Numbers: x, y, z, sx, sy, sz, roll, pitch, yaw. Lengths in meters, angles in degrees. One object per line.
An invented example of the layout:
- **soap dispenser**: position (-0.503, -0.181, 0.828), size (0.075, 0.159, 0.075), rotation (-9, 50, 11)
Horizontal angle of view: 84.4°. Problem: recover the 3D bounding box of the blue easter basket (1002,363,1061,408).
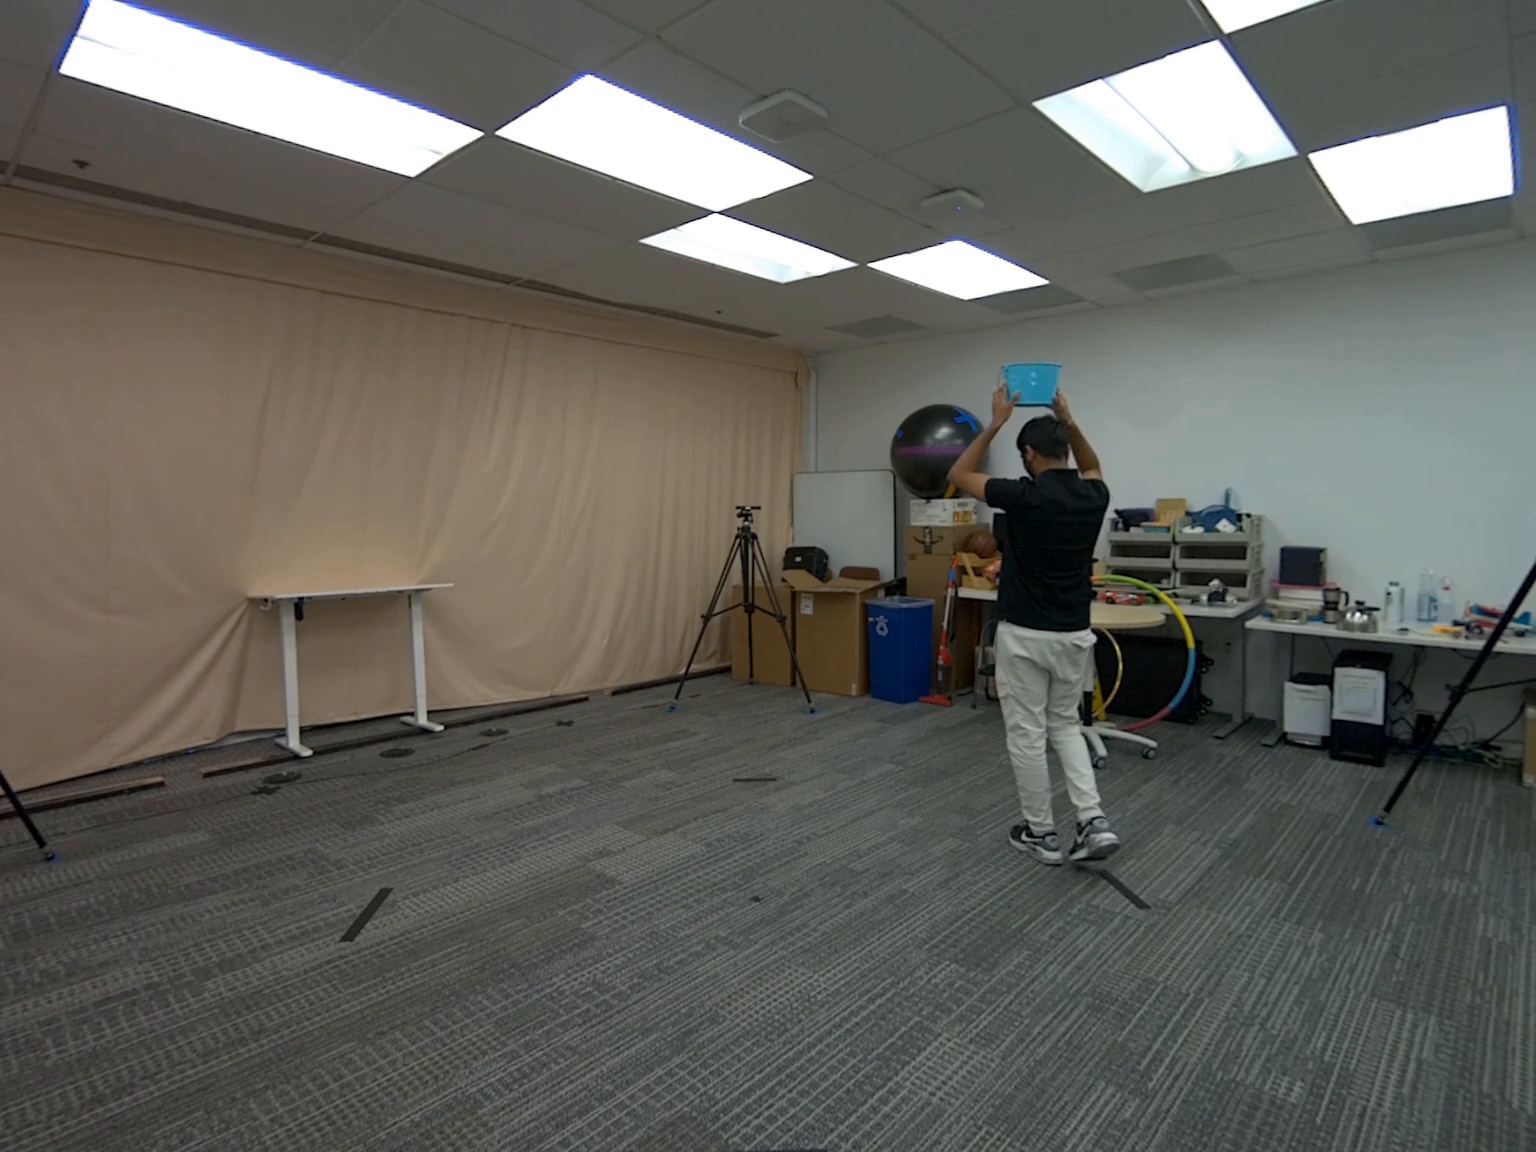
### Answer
- **blue easter basket**: position (1.066, -0.768, 3.380), size (0.243, 0.155, 0.244), rotation (3, 5, -2)
